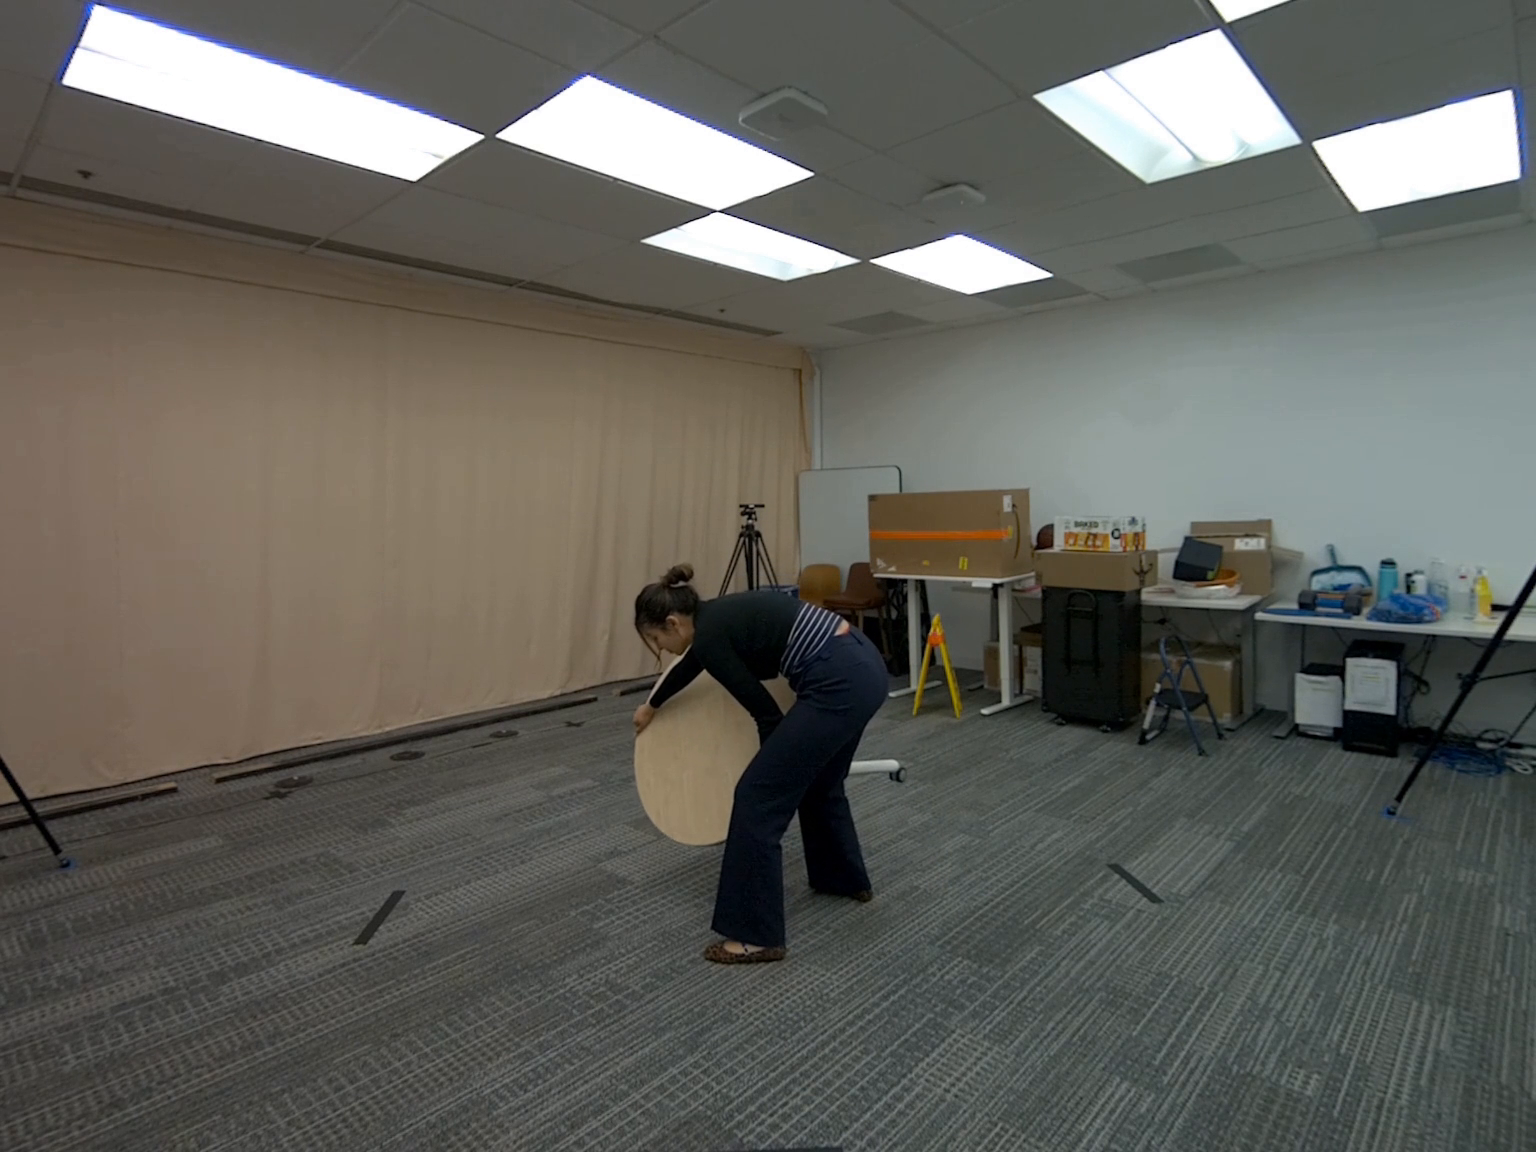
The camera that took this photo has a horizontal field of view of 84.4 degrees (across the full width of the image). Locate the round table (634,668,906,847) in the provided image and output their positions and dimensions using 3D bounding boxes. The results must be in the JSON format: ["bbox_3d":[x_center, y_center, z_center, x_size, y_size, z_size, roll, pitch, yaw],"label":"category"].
[{"bbox_3d":[0.035,0.708,3.265,0.789,0.767,0.765,3,-20,44],"label":"round table"}]
